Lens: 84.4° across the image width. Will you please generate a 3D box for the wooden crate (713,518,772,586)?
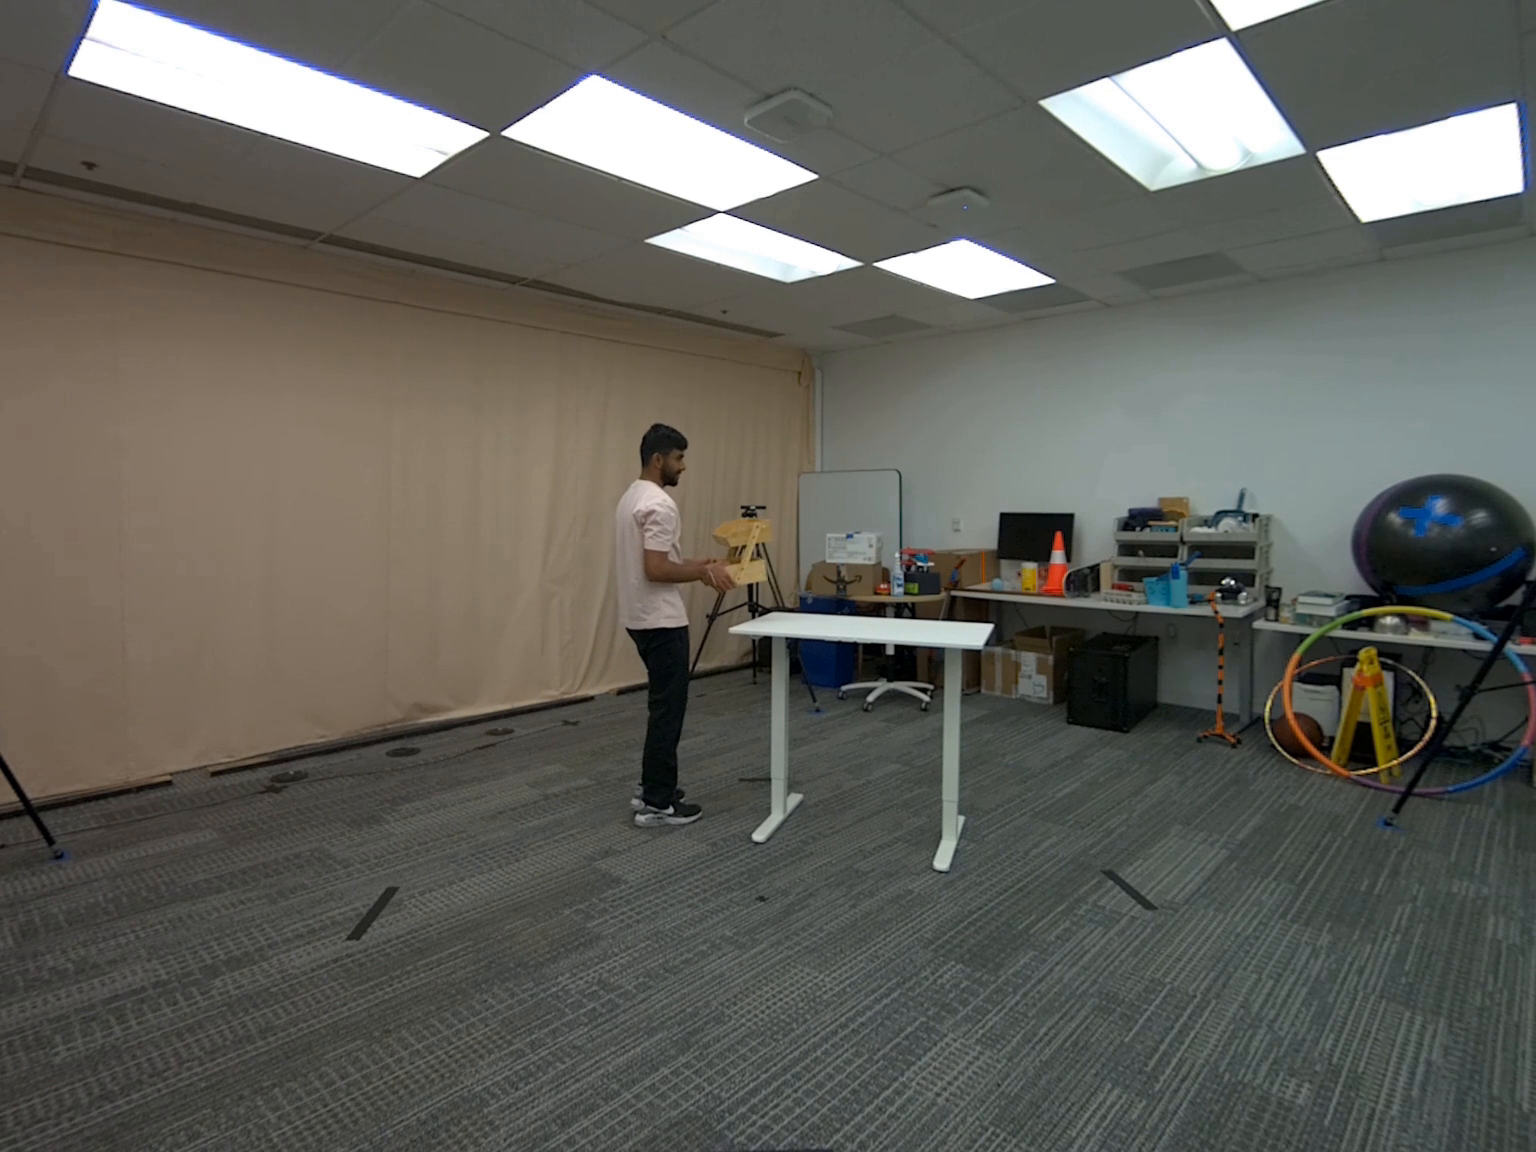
[{"bbox_3d":[-0.157,-0.110,3.795,0.298,0.272,0.330,-10,7,-13],"label":"wooden crate"}]
